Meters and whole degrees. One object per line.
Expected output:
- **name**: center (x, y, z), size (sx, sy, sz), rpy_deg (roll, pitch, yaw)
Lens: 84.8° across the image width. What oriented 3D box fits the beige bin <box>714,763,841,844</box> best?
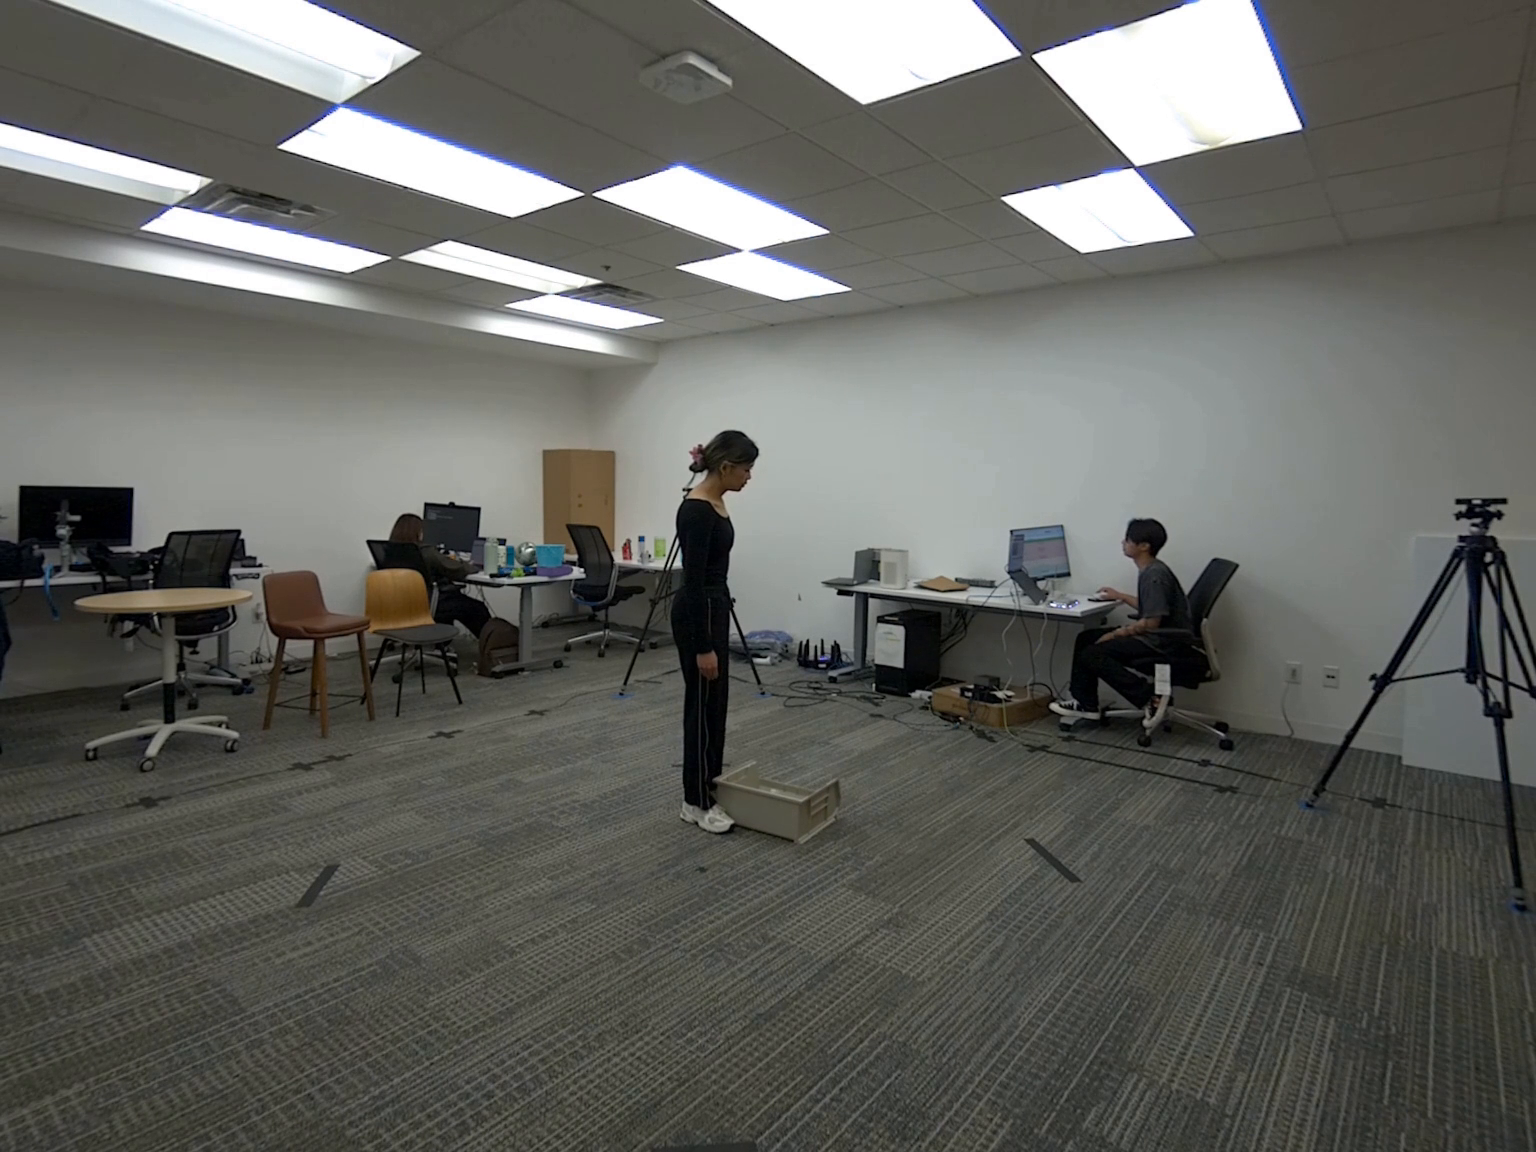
- **beige bin**: center (0.031, 0.937, 3.596), size (0.435, 0.188, 0.368), rpy_deg (5, 7, 30)
